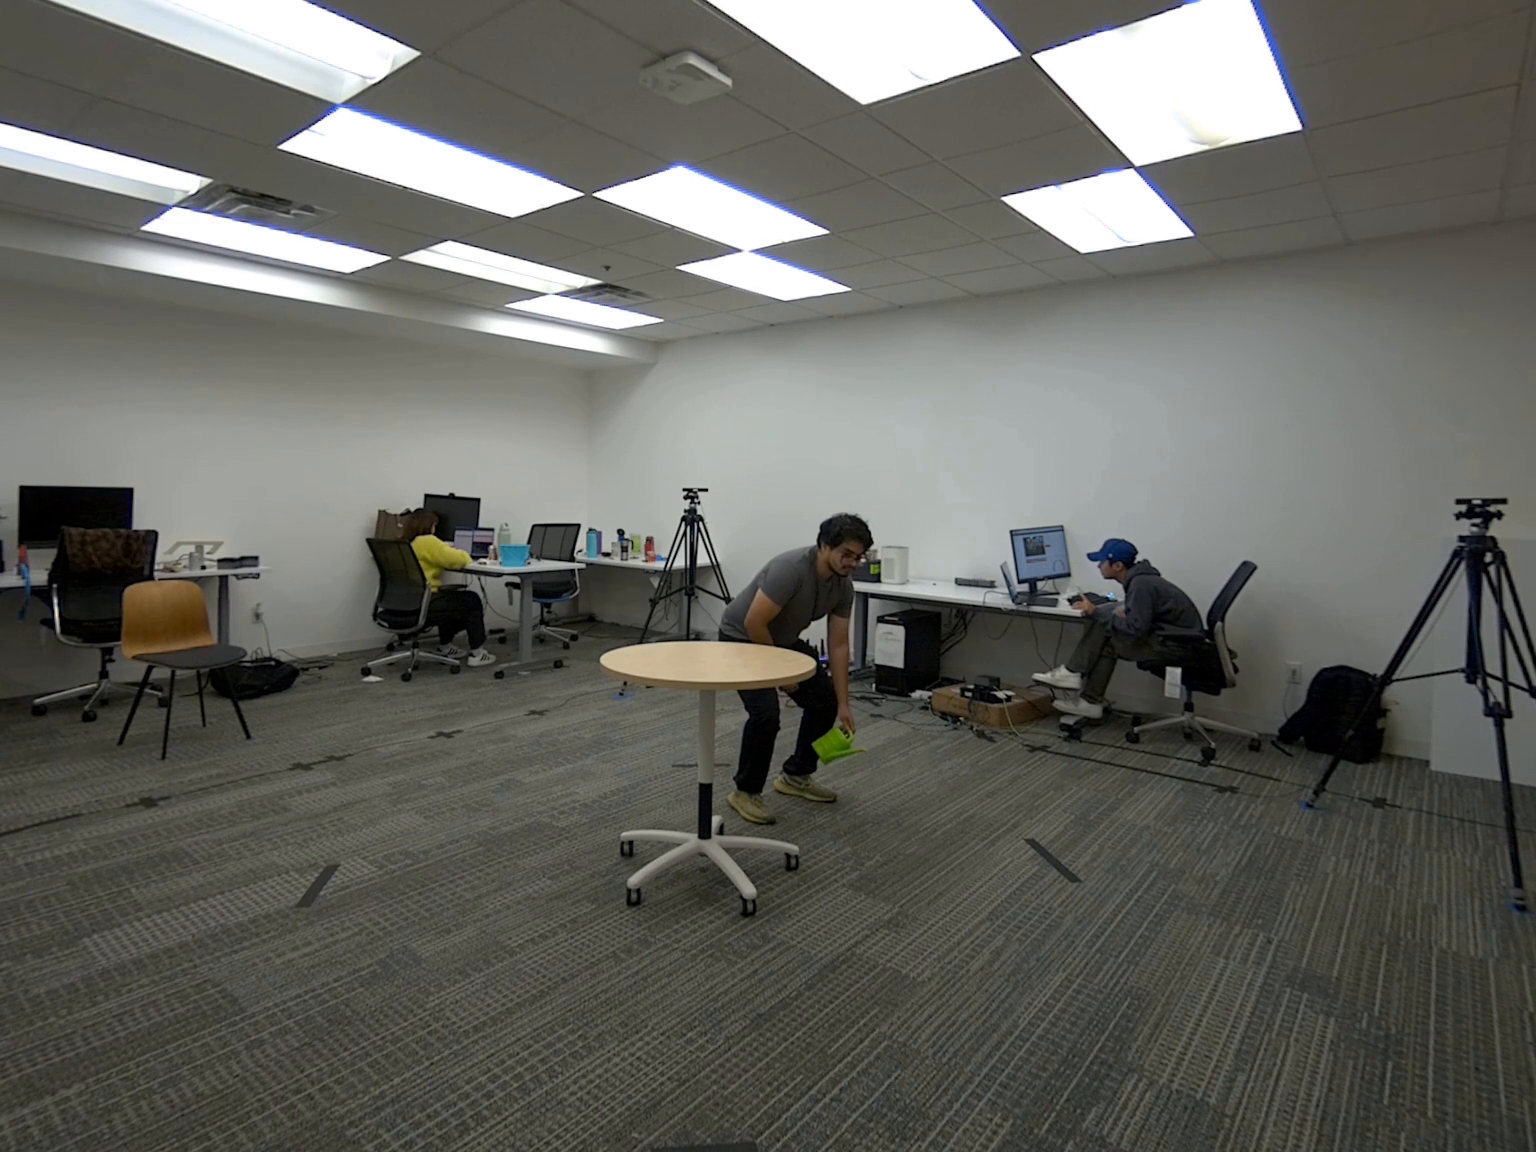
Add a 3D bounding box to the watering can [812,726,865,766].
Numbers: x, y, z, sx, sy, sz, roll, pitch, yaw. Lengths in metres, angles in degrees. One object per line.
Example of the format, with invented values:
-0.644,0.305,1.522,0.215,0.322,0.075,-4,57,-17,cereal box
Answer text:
0.268,0.715,3.578,0.176,0.097,0.281,-33,7,-6,watering can
